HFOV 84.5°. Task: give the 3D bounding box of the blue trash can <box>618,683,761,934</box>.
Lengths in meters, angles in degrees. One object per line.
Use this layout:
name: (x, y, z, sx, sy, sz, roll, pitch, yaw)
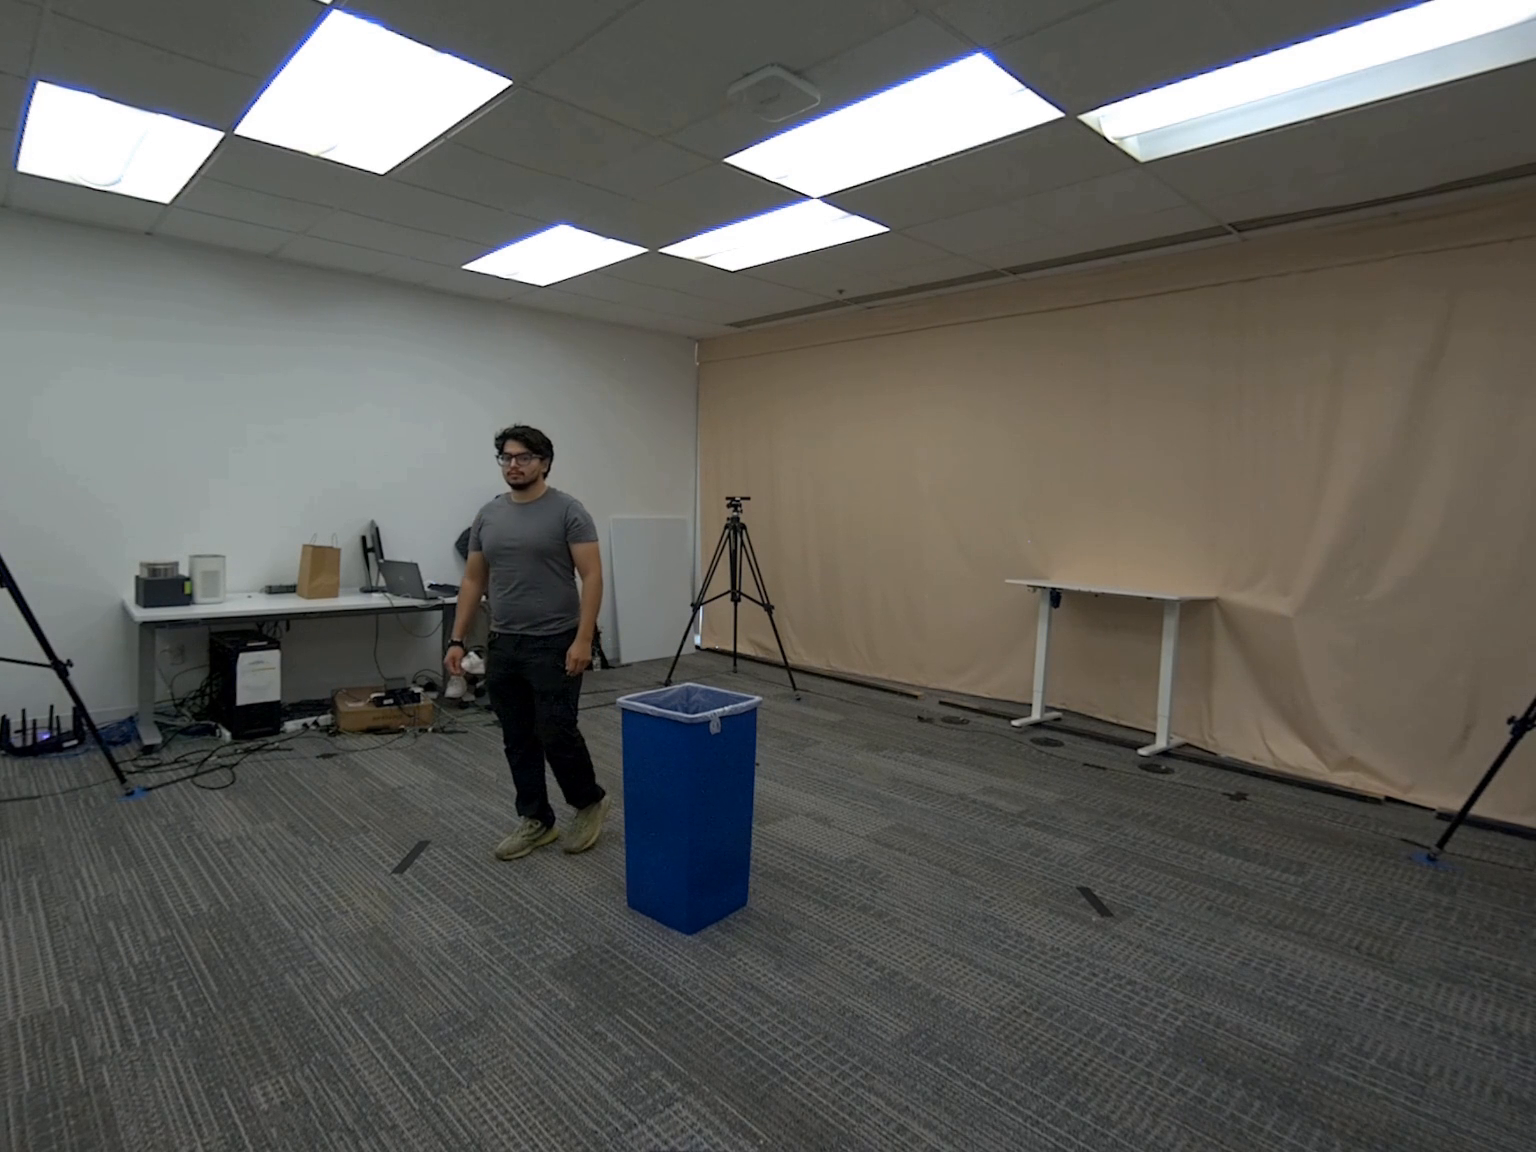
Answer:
blue trash can: (-0.282, 0.768, 2.861, 0.383, 0.712, 0.369, 4, 4, 39)
